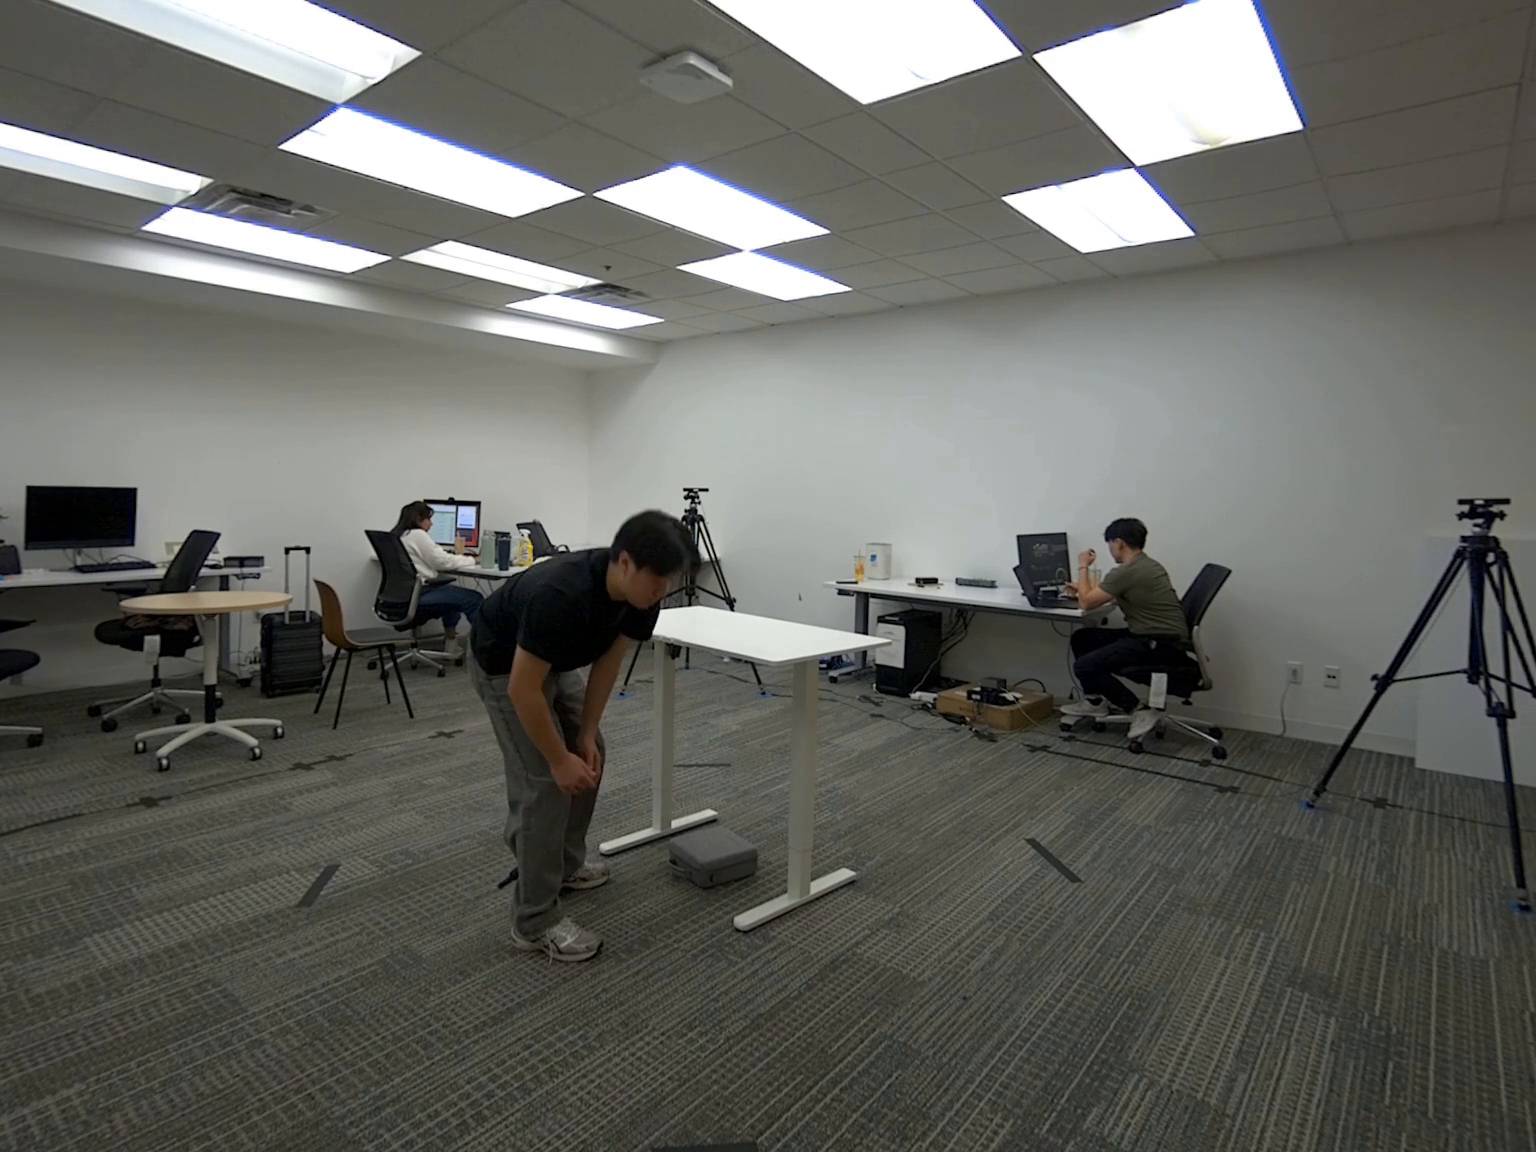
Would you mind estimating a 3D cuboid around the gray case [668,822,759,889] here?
[{"bbox_3d":[-0.205,1.011,3.109,0.279,0.102,0.272,-3,6,-34],"label":"gray case"}]
